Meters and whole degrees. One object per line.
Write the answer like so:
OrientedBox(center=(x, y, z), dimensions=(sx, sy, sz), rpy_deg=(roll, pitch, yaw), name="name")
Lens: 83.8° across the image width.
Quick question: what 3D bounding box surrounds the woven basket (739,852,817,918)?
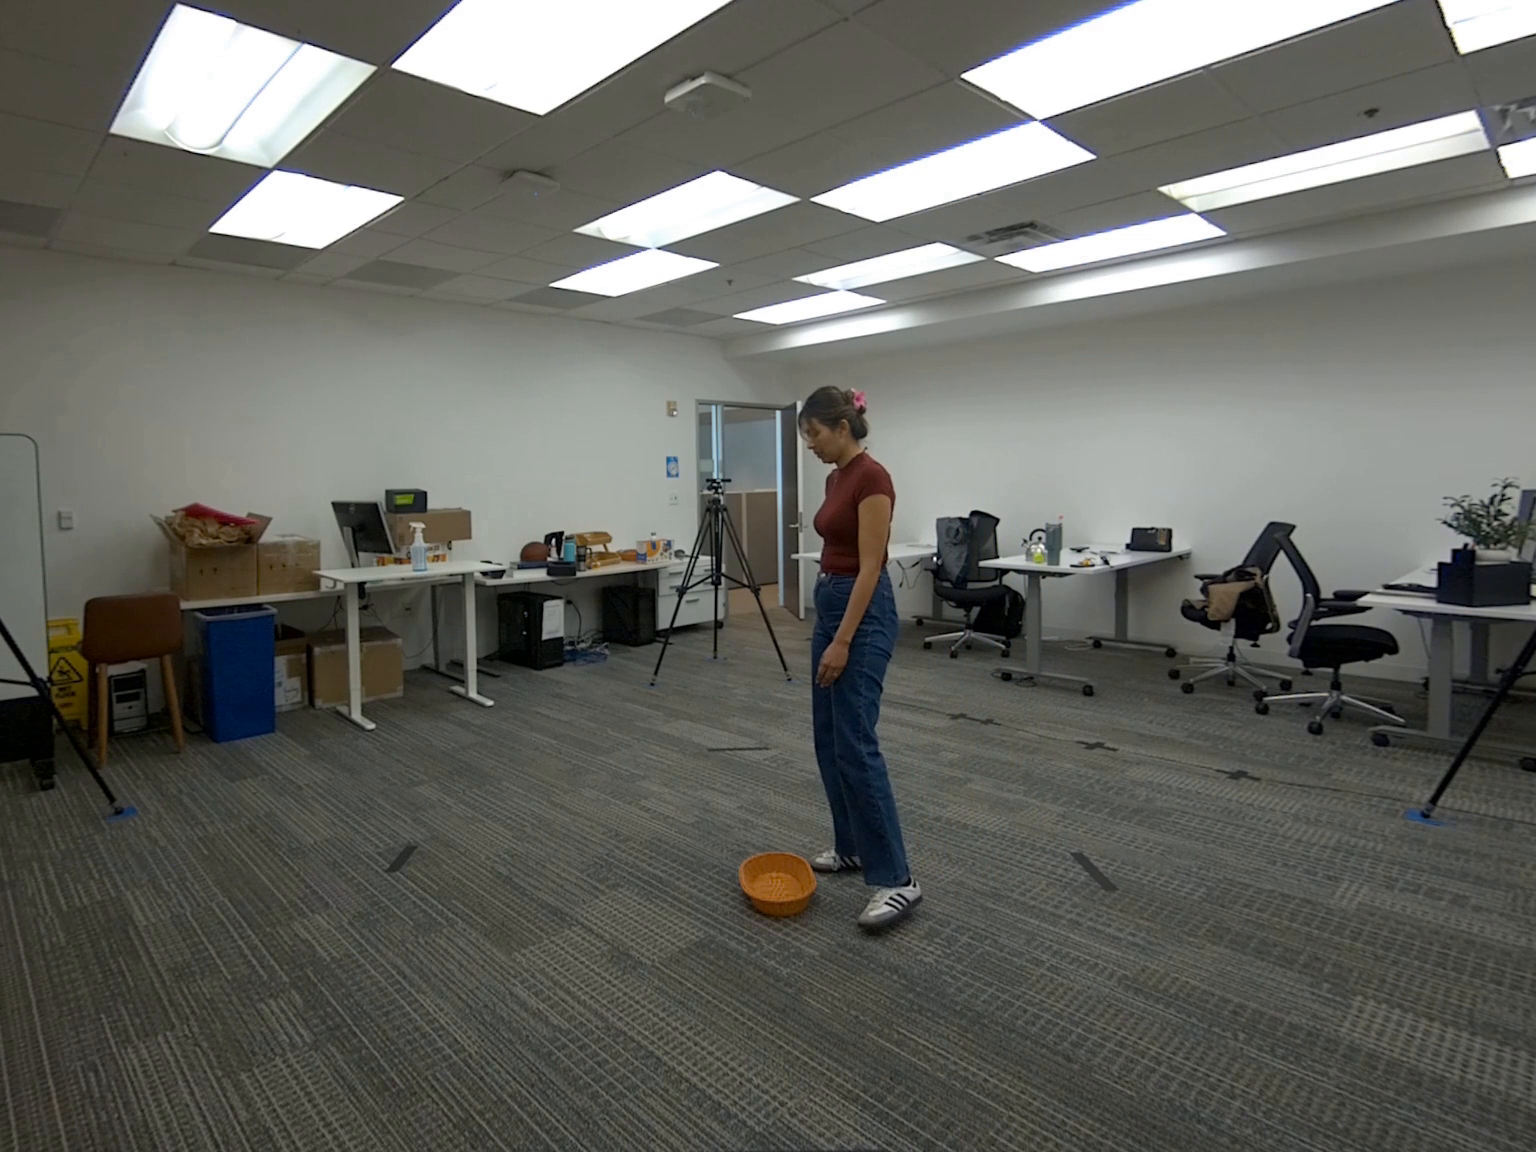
OrientedBox(center=(0.033, 1.037, 2.863), dimensions=(0.252, 0.073, 0.353), rpy_deg=(-2, 6, -4), name="woven basket")
